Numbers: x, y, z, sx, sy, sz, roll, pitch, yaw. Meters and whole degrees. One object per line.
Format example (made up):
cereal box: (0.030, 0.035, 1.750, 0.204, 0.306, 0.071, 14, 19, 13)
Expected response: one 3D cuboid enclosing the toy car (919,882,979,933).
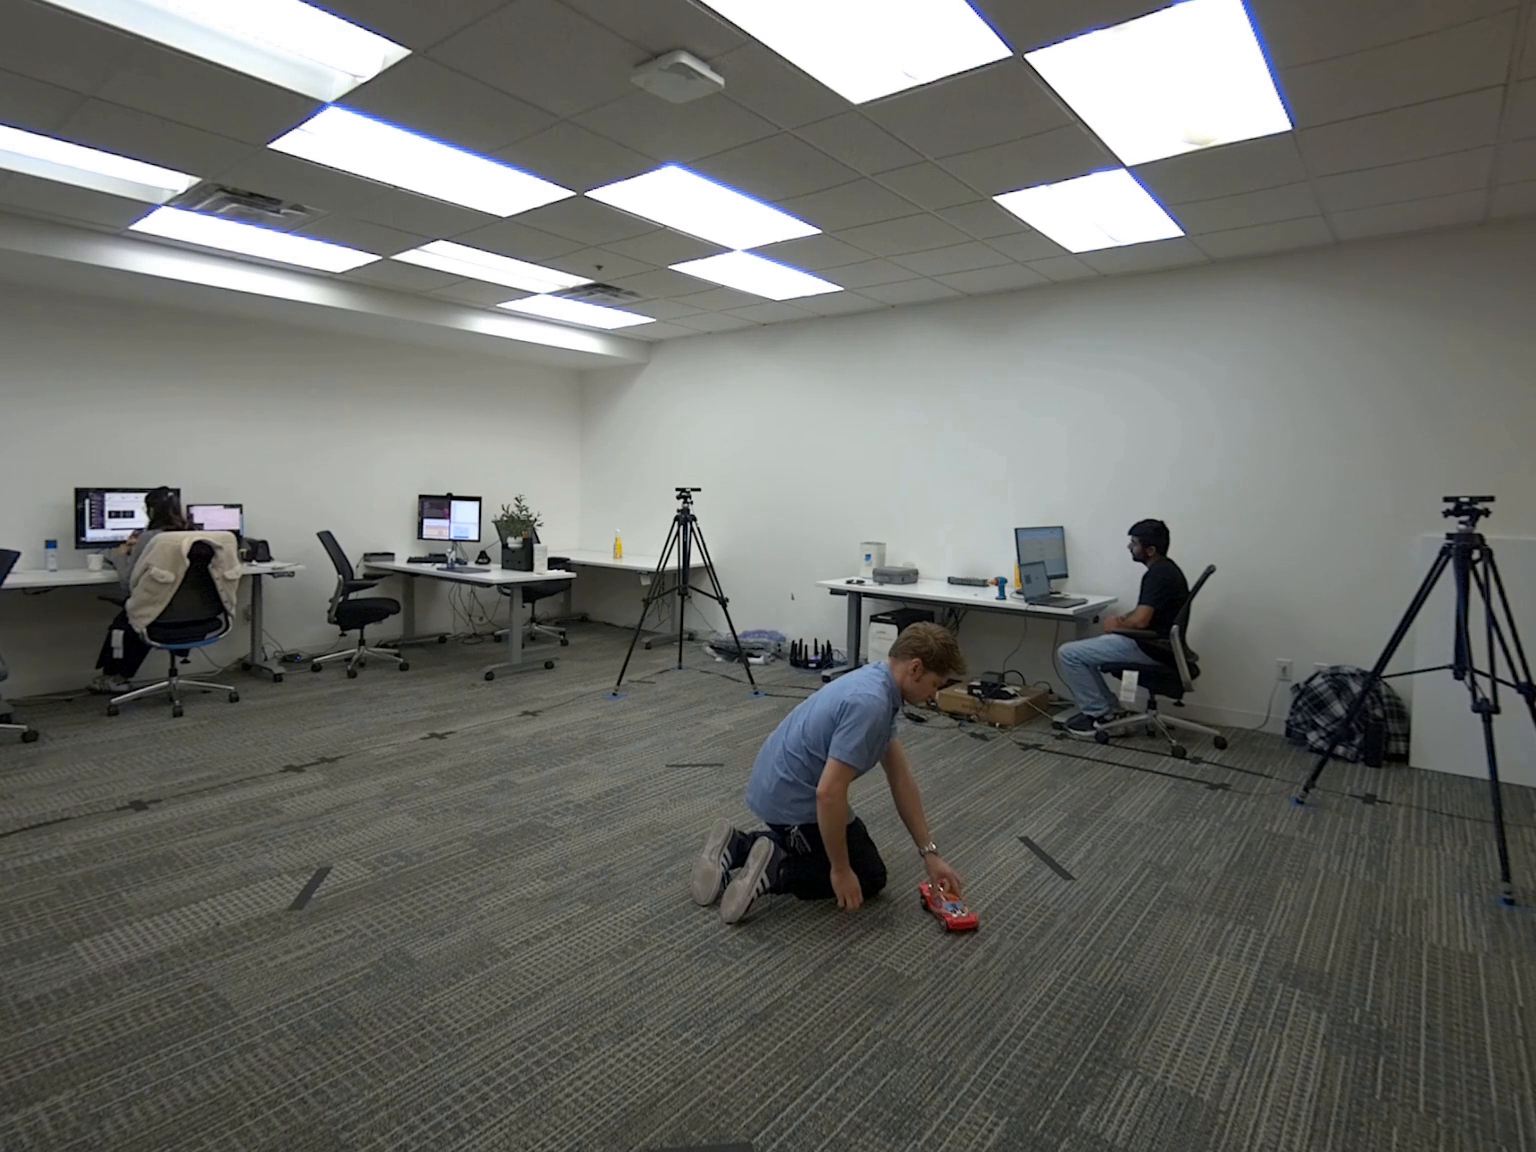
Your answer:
toy car: (0.590, 1.090, 2.813, 0.128, 0.082, 0.261, -1, 16, -14)
